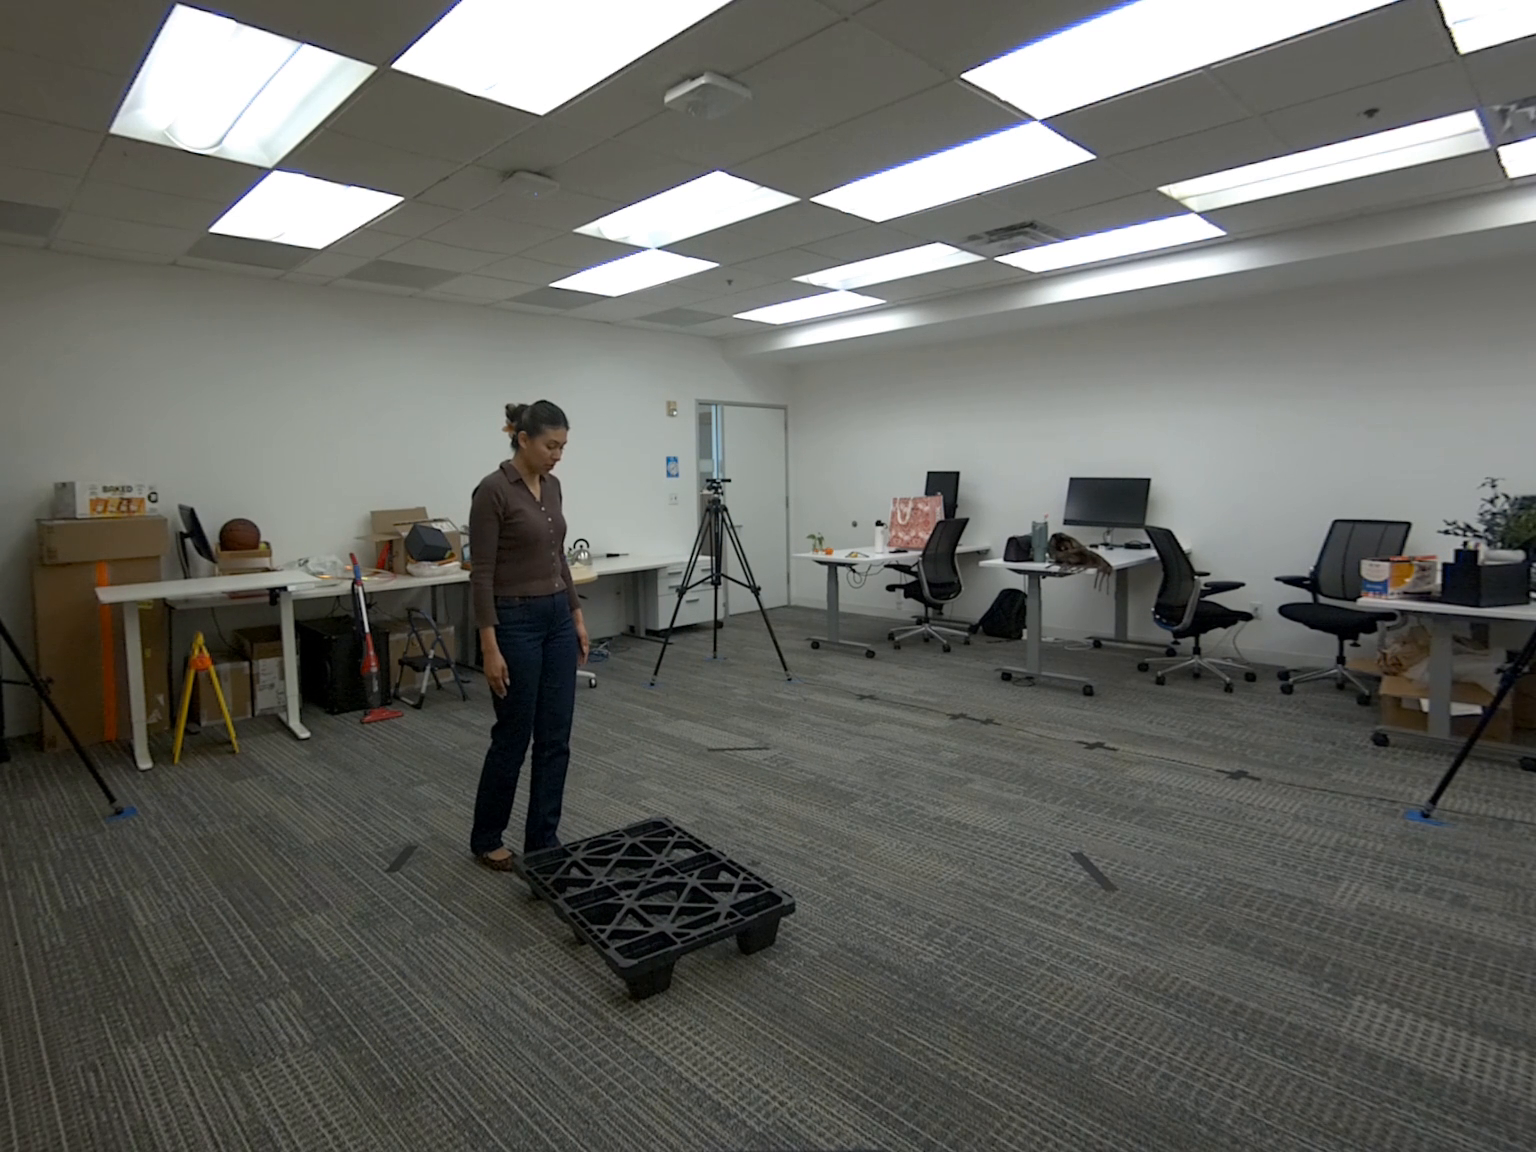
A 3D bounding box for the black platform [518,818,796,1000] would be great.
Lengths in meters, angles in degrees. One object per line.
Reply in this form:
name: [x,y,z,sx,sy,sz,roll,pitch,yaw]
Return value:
black platform: [-0.384,1.029,2.731,0.590,0.142,0.830,-5,8,-36]
